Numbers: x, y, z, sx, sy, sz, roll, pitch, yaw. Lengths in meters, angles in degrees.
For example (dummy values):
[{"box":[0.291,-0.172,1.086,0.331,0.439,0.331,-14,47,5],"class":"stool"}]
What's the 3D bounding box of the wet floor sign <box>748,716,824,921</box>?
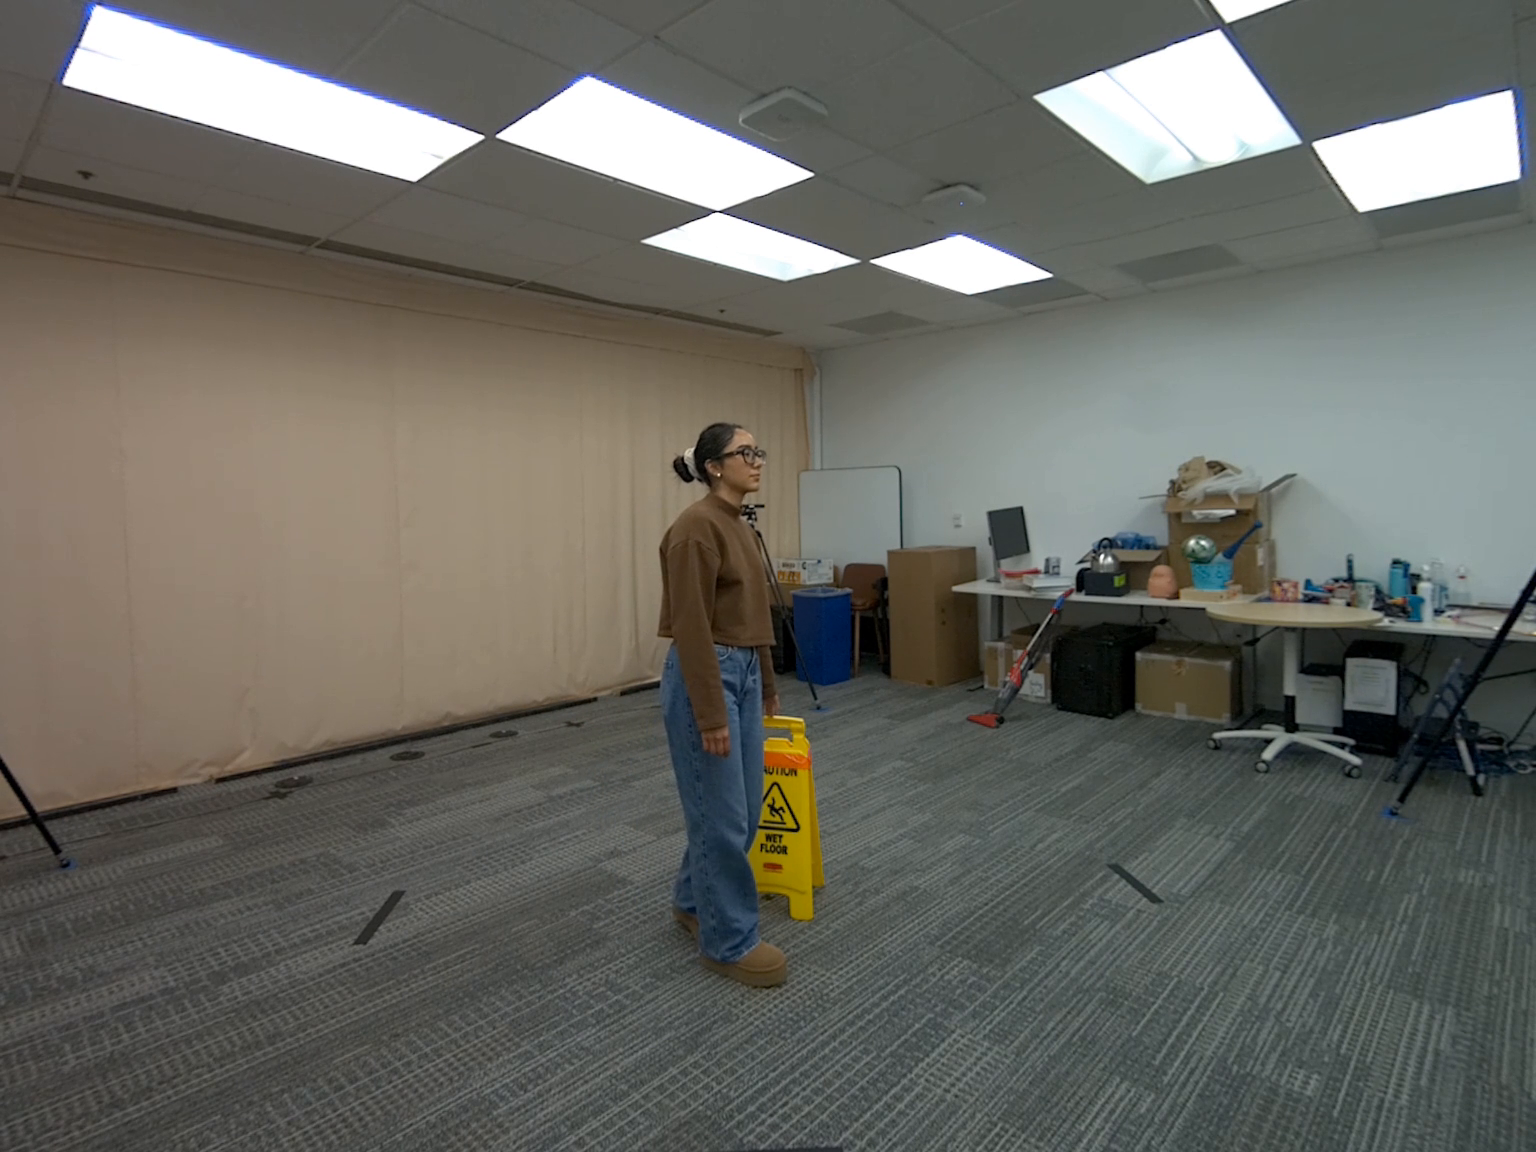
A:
[{"box":[0.042,0.817,2.964,0.287,0.645,0.285,1,3,14],"class":"wet floor sign"}]
